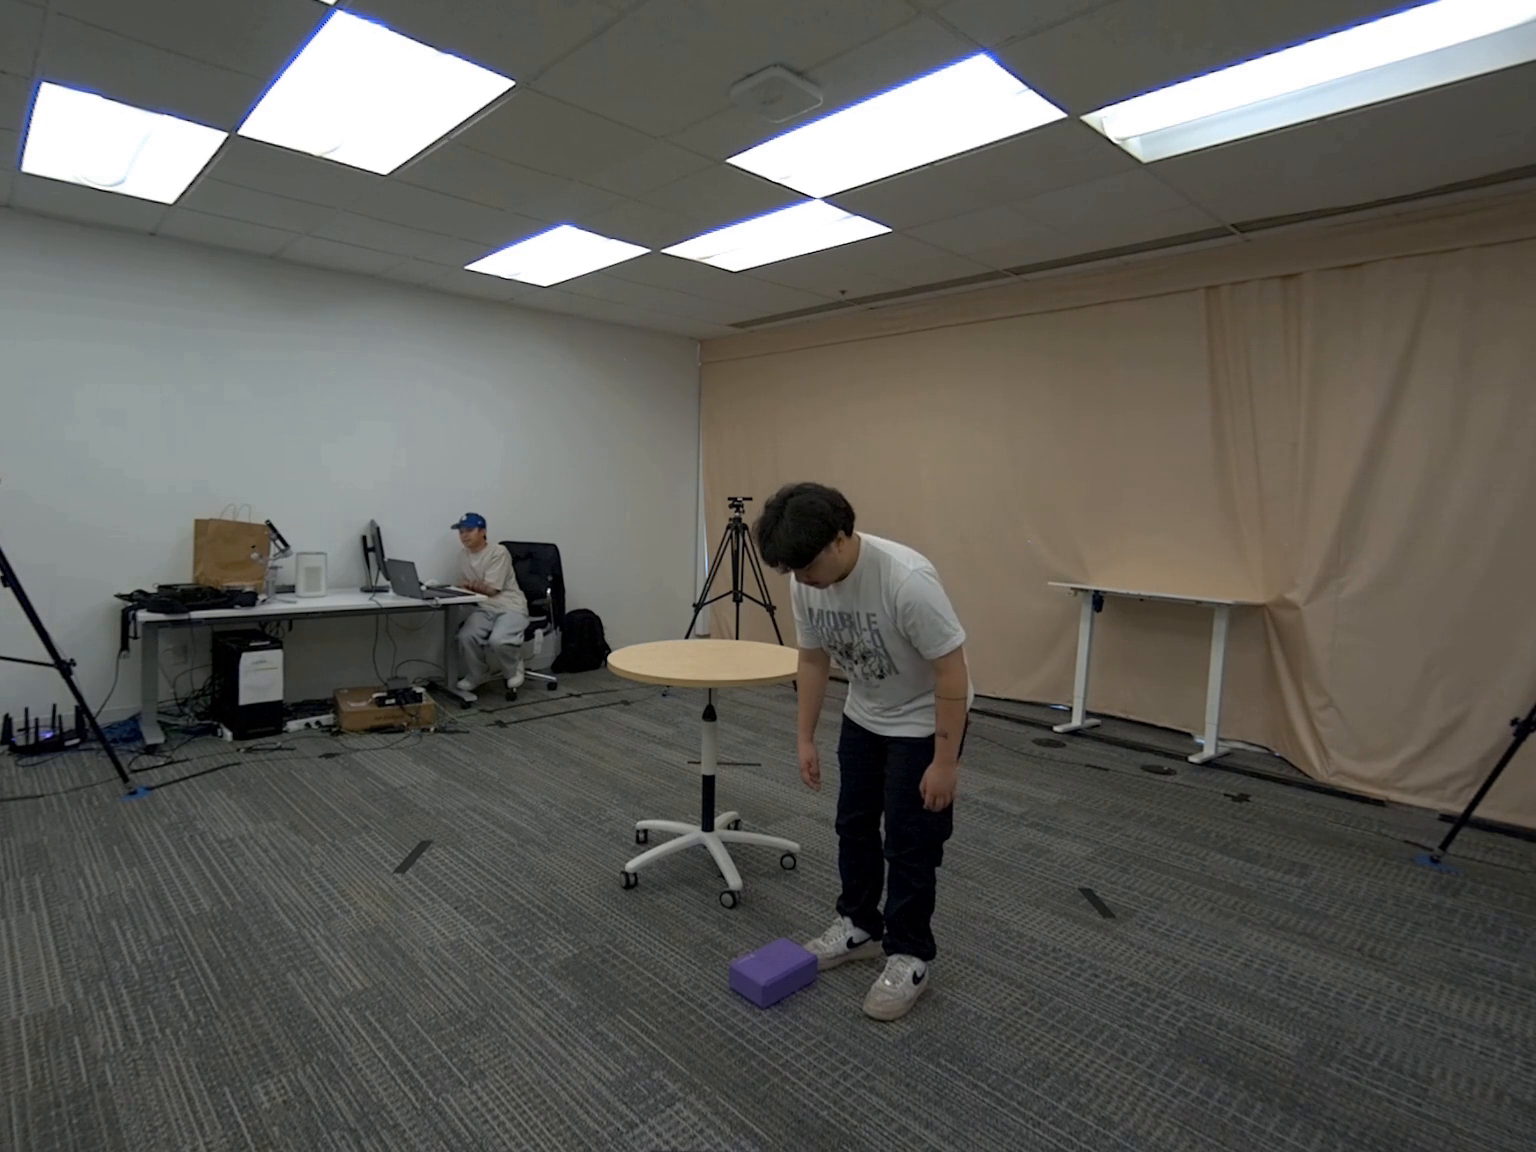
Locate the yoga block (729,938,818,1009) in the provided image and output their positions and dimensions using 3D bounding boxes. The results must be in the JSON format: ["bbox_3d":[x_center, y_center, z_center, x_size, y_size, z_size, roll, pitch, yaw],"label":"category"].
[{"bbox_3d":[0.014,1.130,2.421,0.153,0.076,0.224,6,8,44],"label":"yoga block"}]
